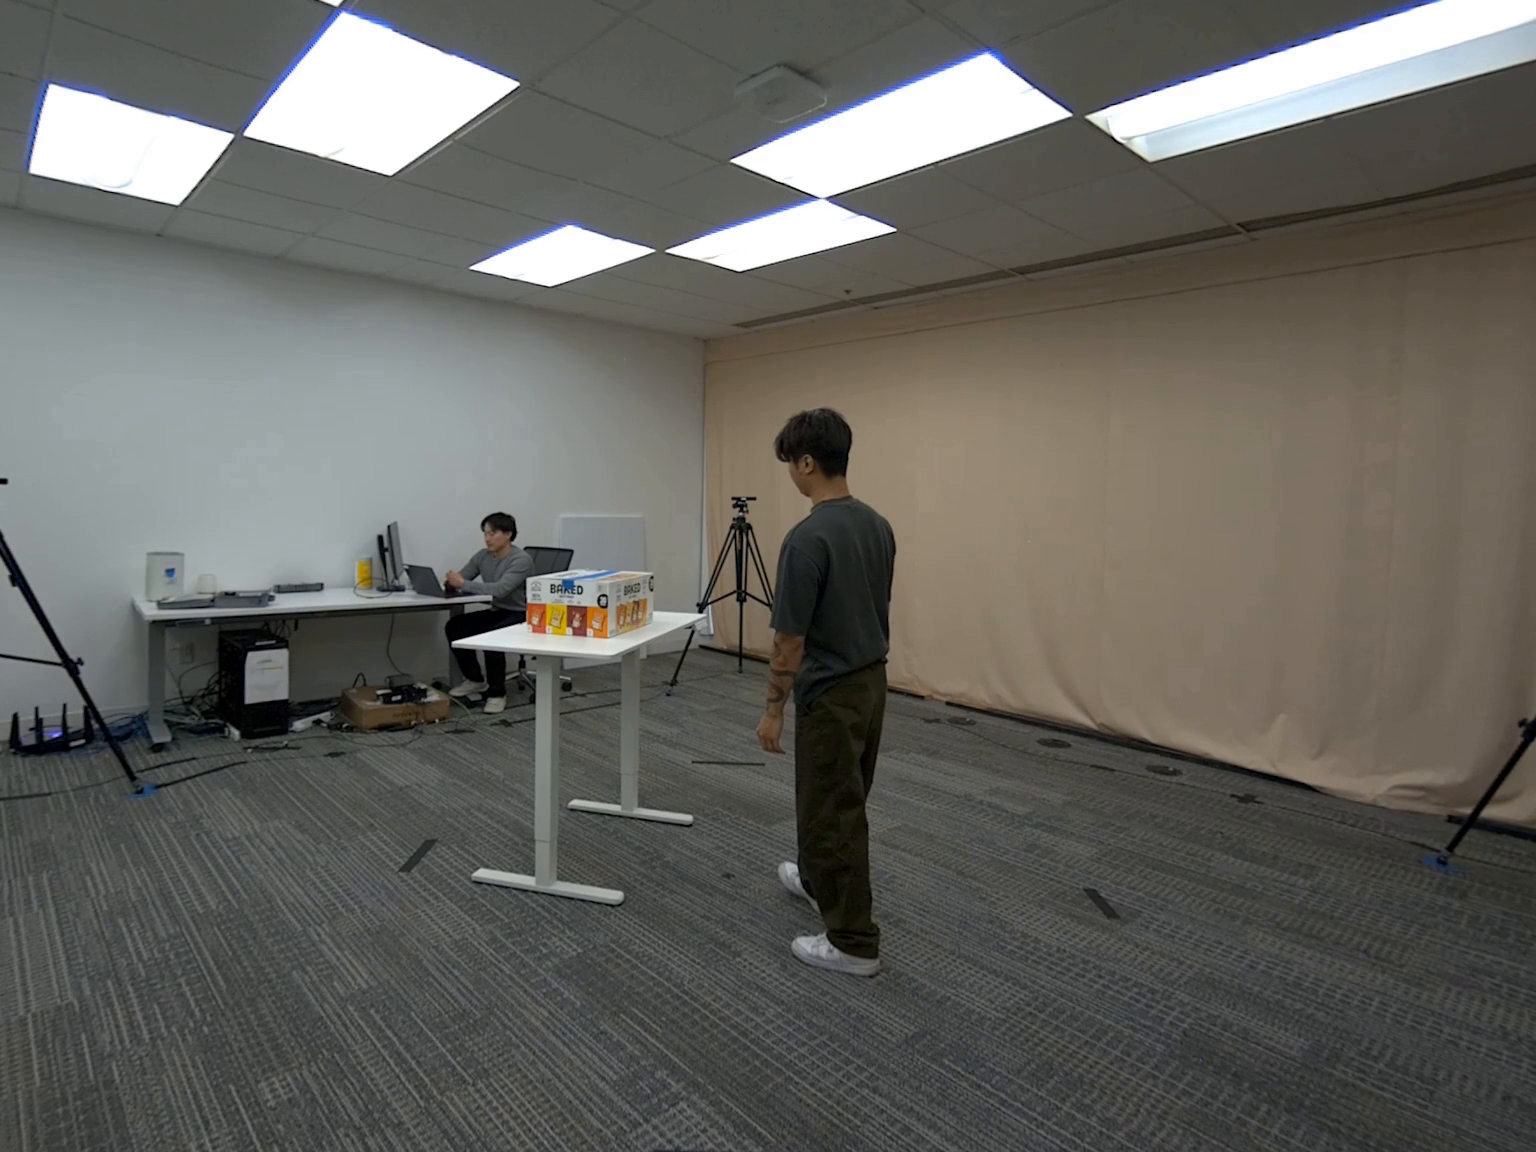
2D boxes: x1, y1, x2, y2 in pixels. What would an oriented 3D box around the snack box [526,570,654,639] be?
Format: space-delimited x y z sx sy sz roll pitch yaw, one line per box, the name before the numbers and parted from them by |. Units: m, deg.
snack box | -0.685 0.097 3.244 0.345 0.205 0.401 3 5 16
